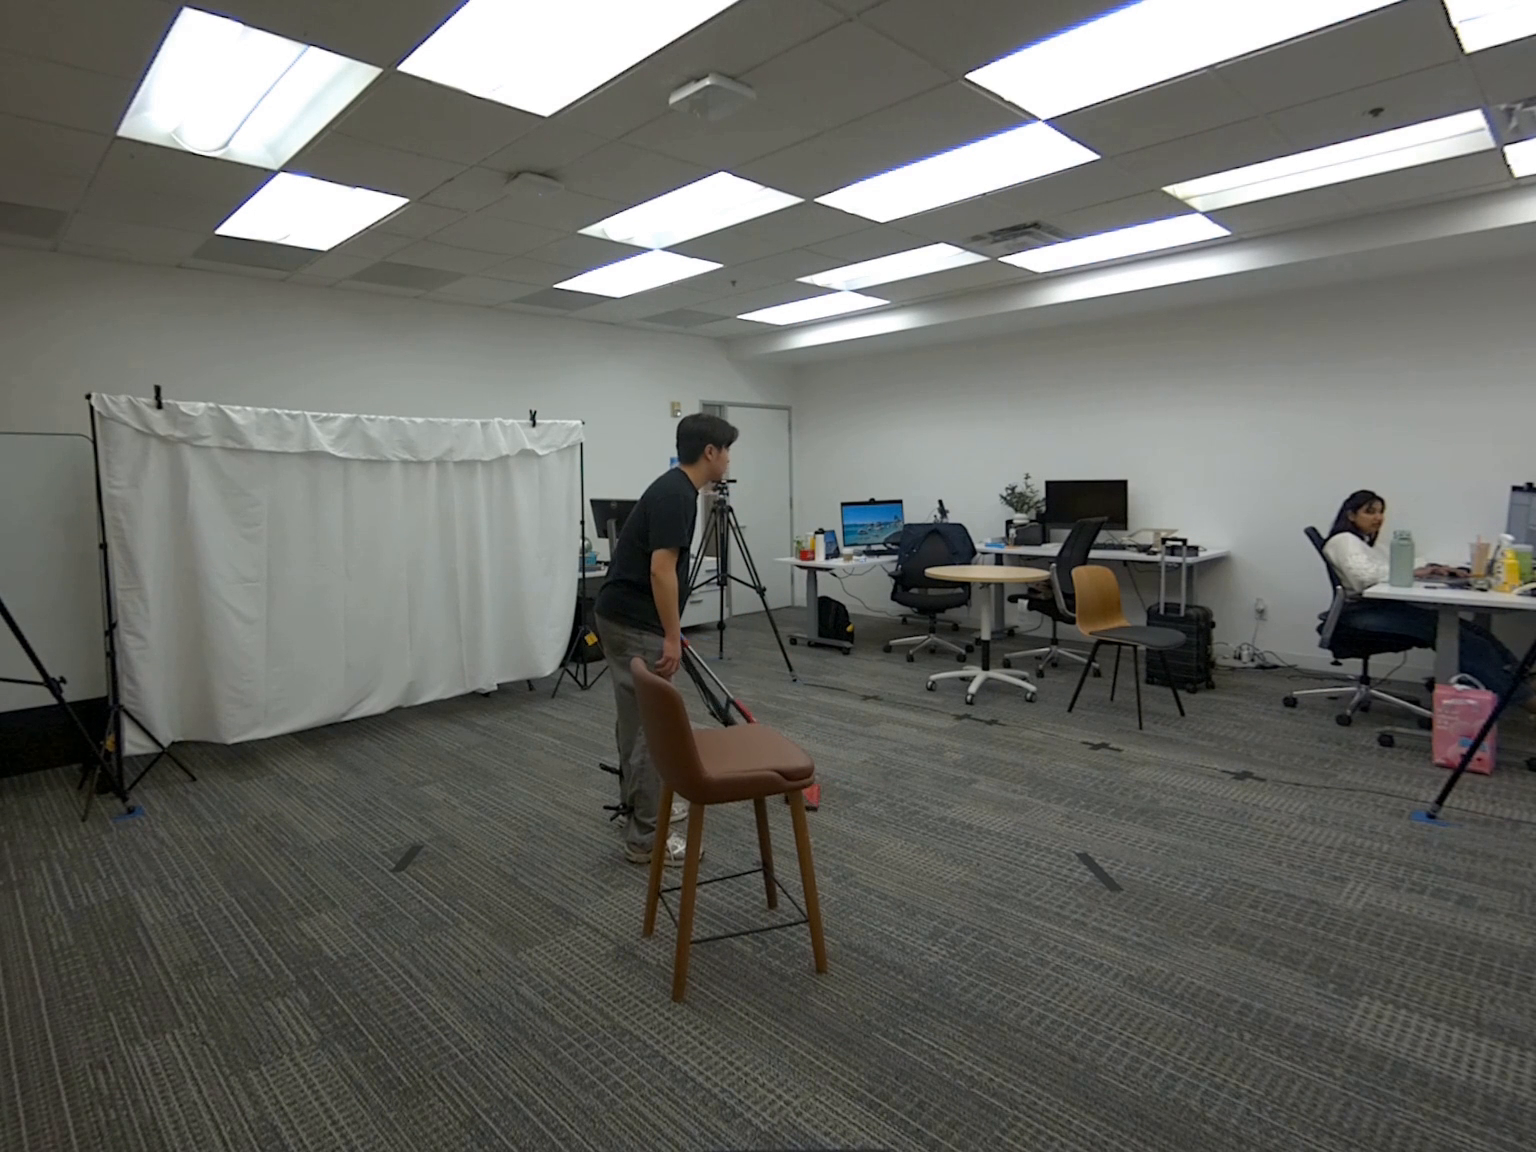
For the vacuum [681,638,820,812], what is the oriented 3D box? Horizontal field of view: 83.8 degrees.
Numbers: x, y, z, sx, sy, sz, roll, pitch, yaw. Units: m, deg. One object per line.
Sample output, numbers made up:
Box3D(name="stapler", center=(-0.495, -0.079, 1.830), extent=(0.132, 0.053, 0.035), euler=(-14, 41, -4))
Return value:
Box3D(name="vacuum", center=(-0.181, 0.567, 3.749), extent=(0.144, 1.055, 0.251), euler=(-42, -4, 9))
